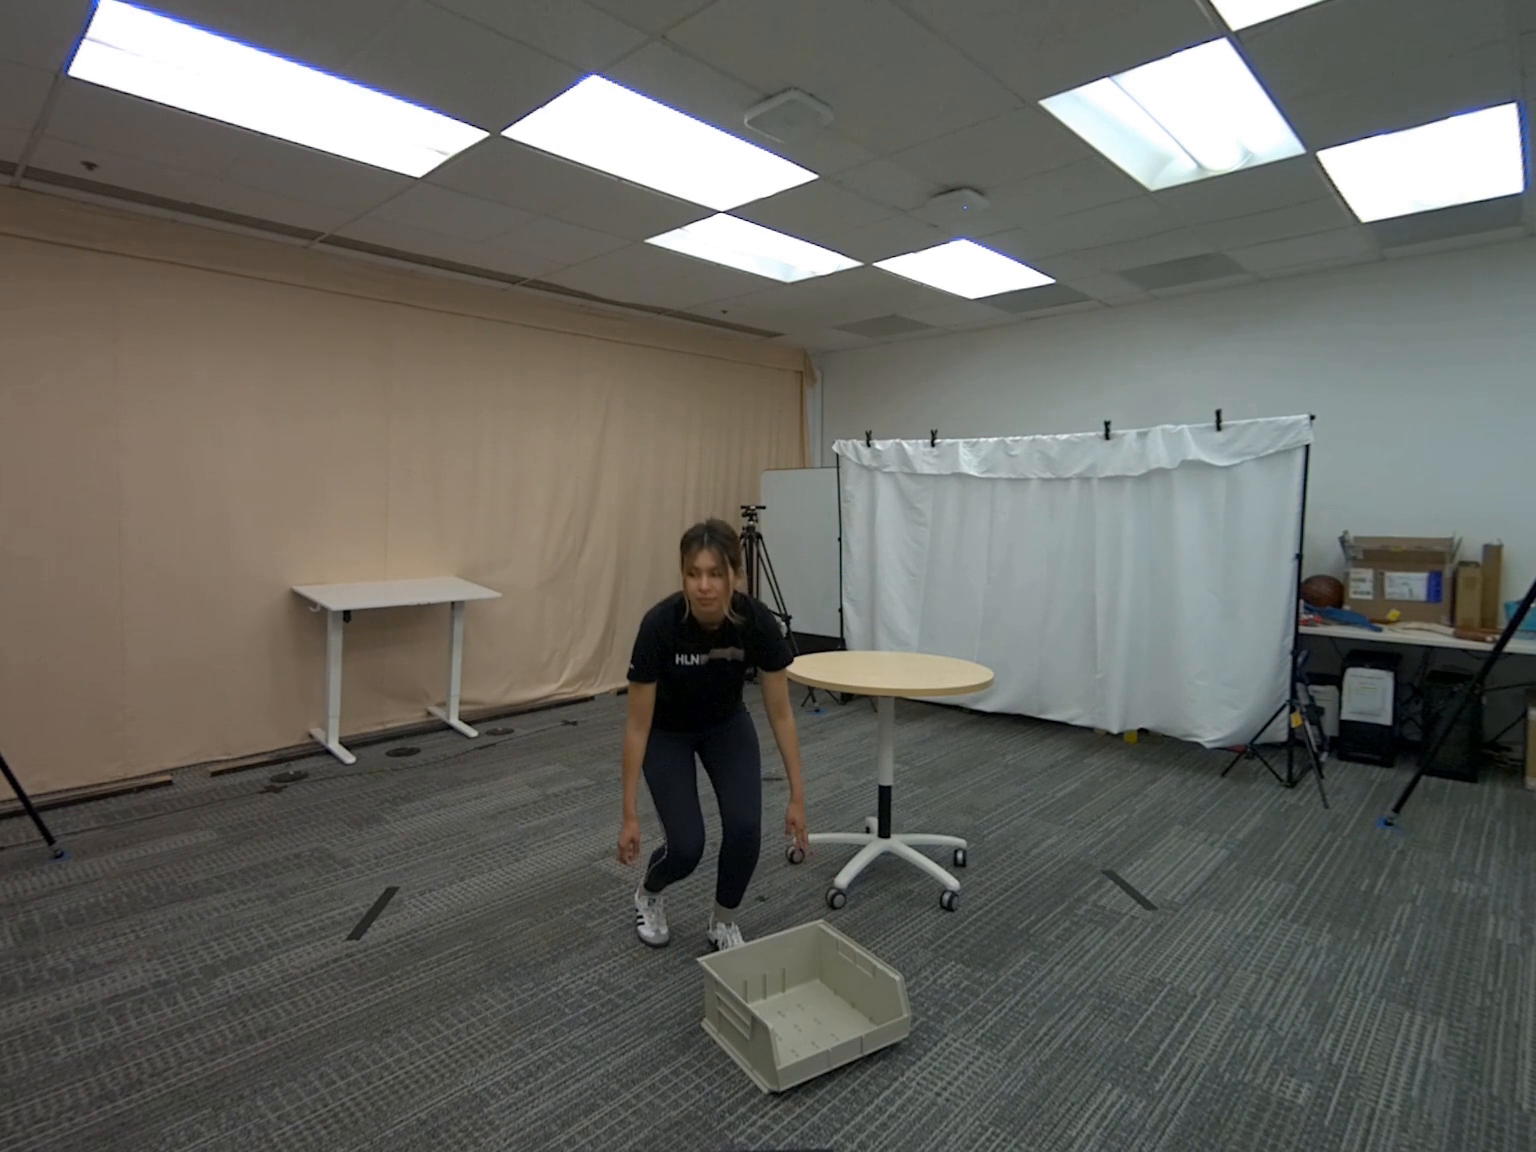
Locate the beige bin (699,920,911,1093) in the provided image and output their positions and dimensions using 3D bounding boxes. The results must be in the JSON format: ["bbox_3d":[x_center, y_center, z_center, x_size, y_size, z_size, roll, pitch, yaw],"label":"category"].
[{"bbox_3d":[0.094,1.123,2.203,0.411,0.188,0.389,-4,5,-32],"label":"beige bin"}]
